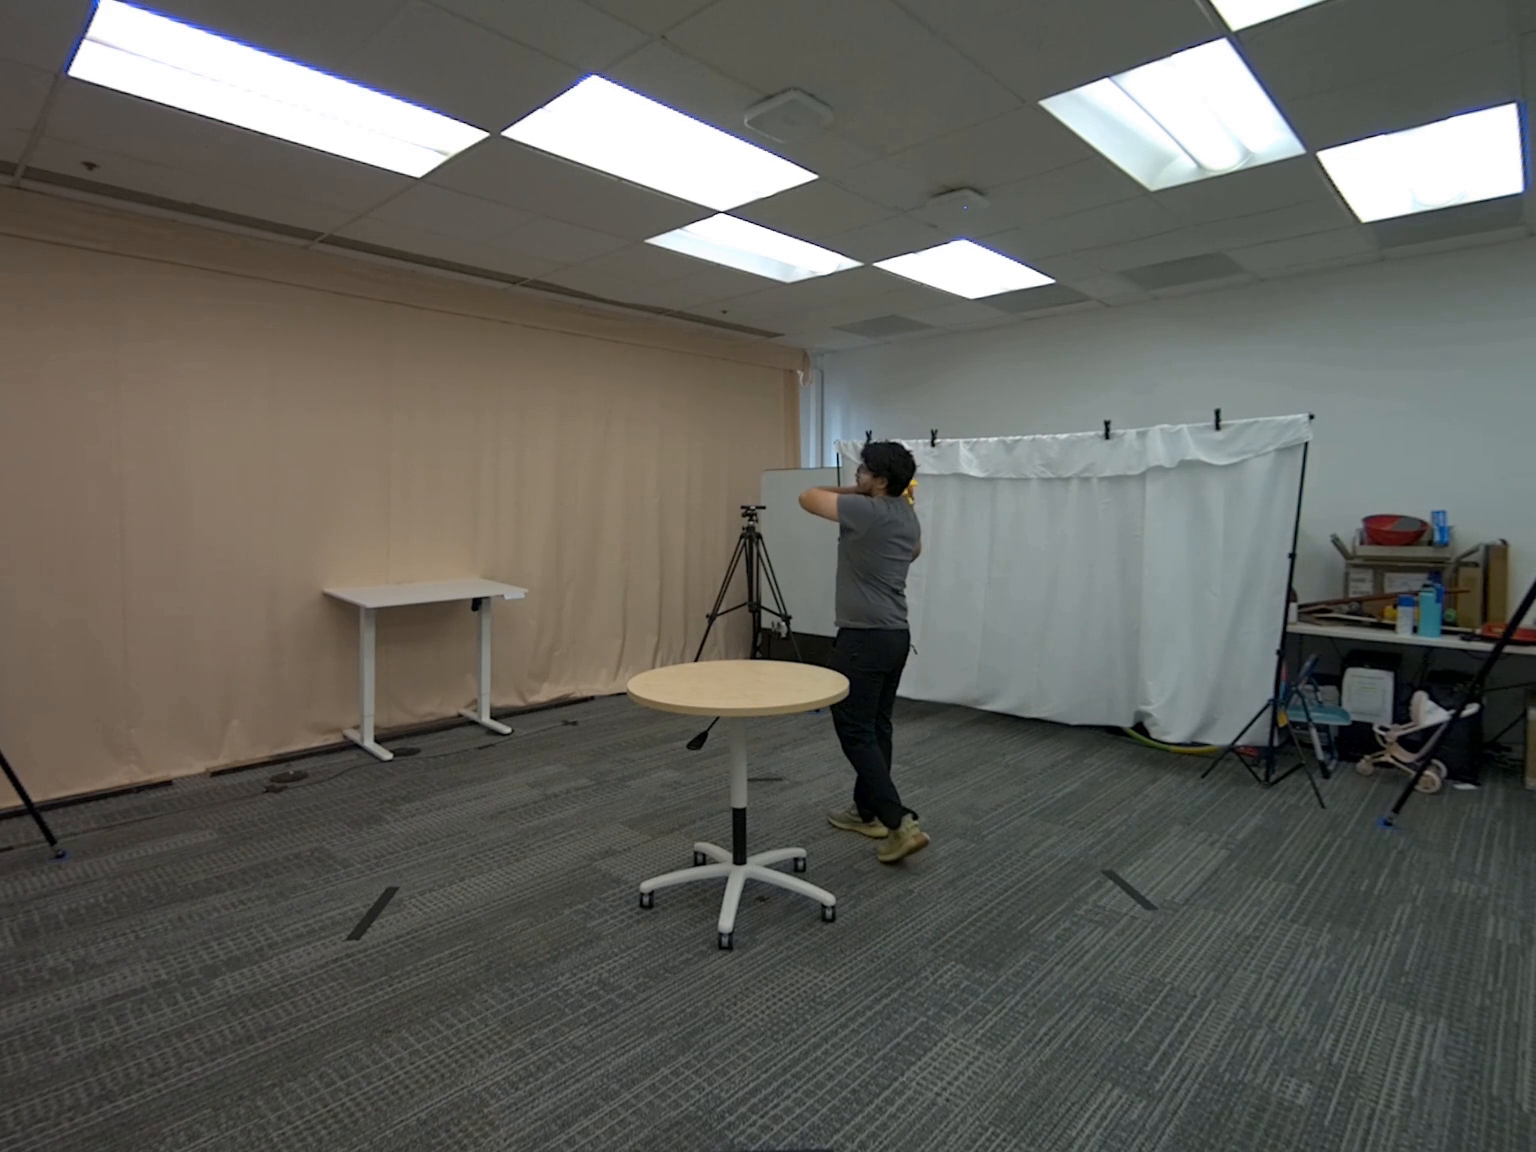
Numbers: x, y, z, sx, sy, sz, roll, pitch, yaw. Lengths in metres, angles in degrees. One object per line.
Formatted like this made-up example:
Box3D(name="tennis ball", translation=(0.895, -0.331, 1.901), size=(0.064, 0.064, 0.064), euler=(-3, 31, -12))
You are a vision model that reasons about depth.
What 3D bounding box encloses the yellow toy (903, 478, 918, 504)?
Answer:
Box3D(name="yellow toy", translation=(0.523, -0.402, 3.616), size=(0.198, 0.232, 0.199), euler=(-16, -5, 37))
